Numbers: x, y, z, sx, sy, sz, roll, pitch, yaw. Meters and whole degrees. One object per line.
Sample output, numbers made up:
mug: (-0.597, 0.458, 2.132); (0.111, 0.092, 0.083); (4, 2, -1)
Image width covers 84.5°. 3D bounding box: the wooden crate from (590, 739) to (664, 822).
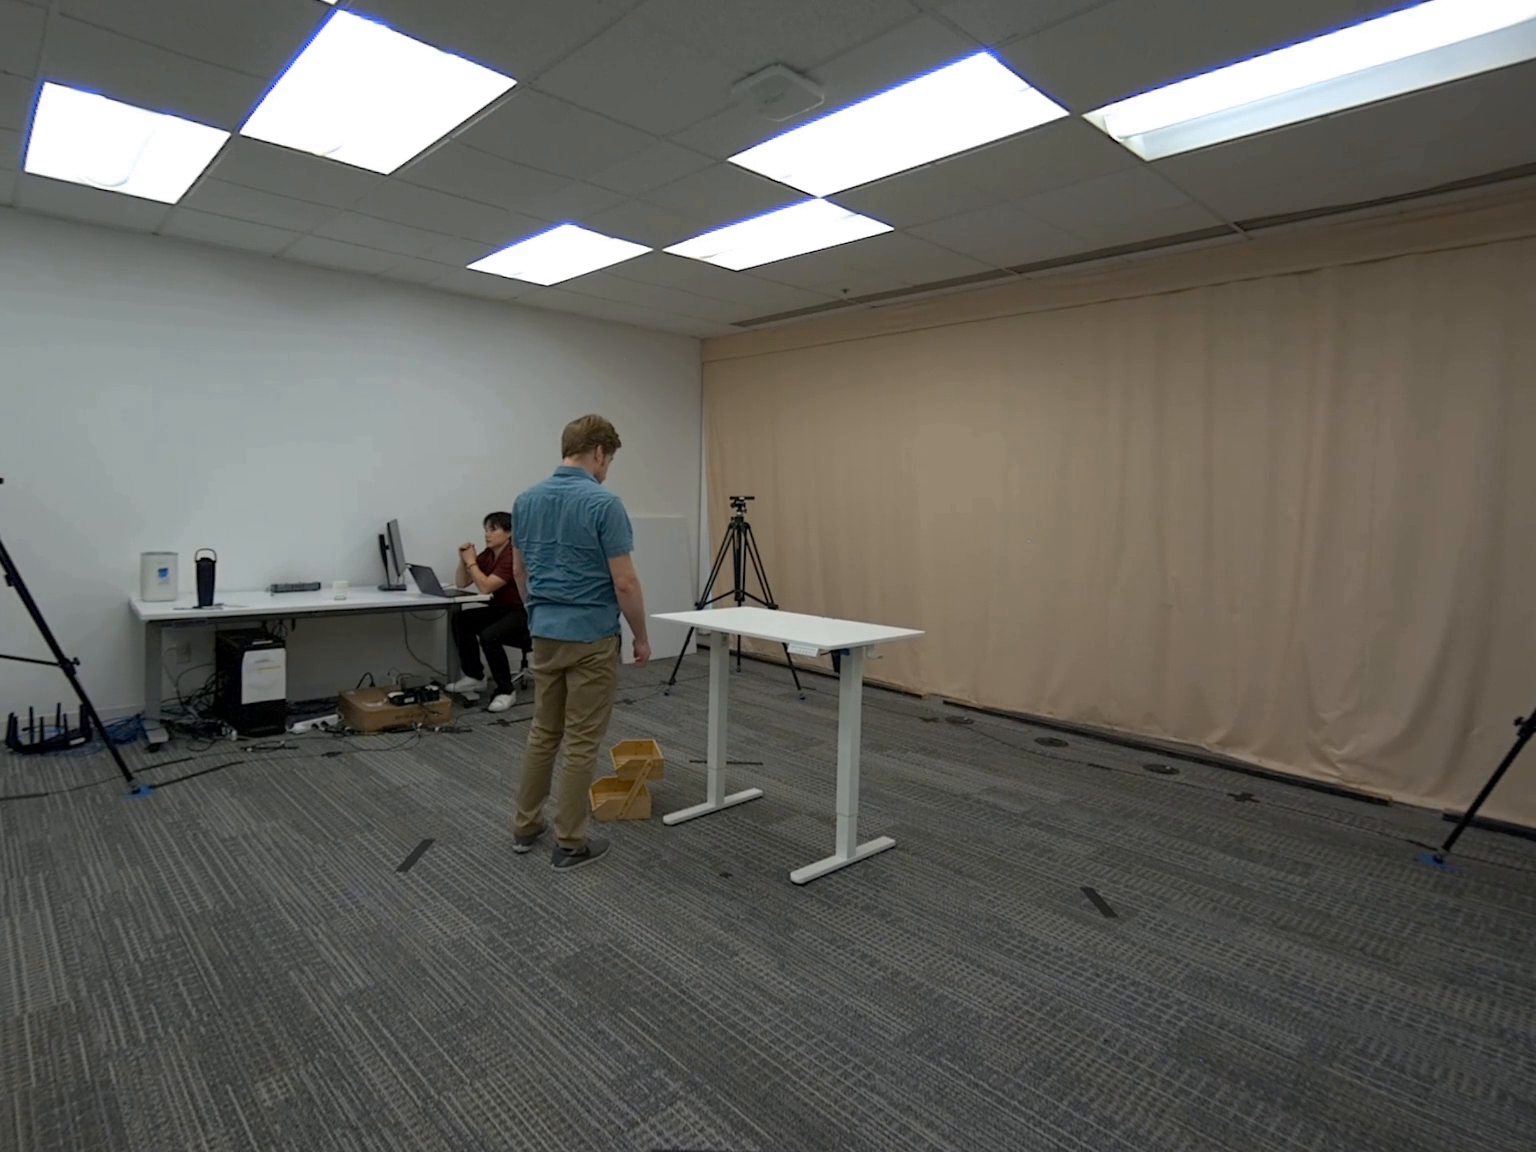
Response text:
wooden crate: (-0.651, 0.899, 3.761); (0.298, 0.272, 0.329); (1, 4, -16)
